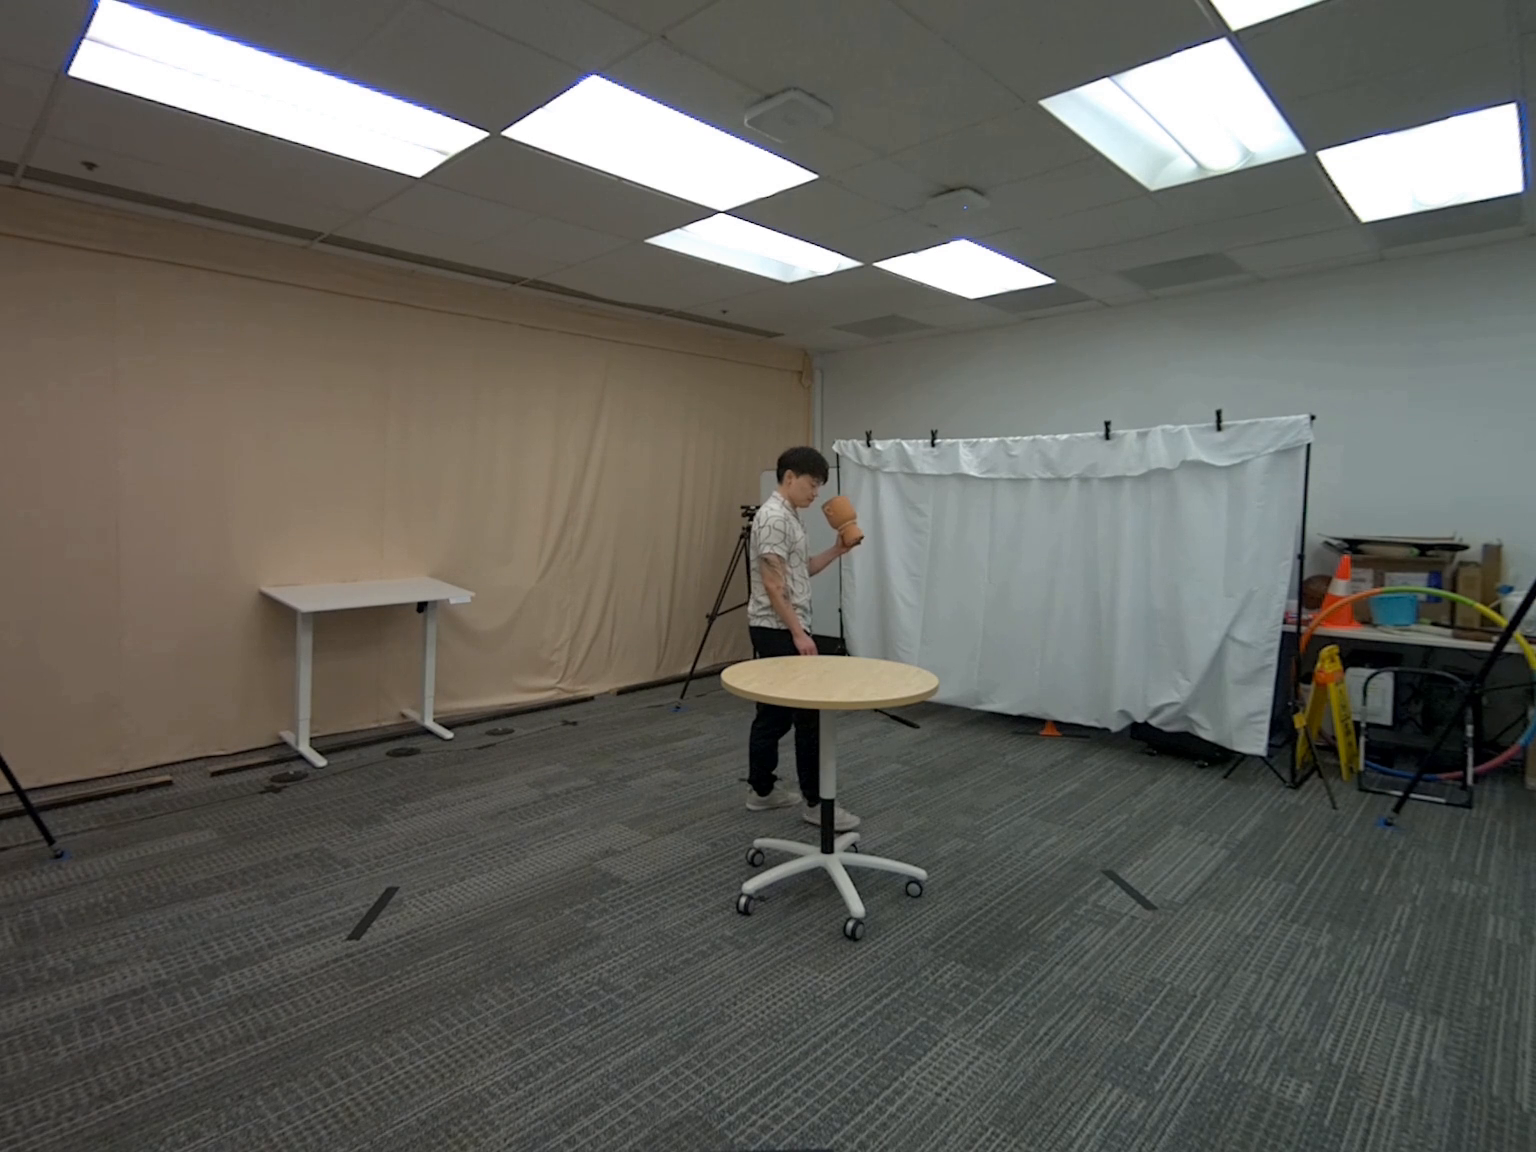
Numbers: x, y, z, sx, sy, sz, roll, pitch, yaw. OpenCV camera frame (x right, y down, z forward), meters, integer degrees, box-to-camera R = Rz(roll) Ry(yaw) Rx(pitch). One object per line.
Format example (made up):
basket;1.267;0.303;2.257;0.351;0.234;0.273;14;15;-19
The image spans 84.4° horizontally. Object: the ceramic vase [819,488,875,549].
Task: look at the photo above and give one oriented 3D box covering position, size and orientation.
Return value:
ceramic vase;0.361;-0.259;3.936;0.158;0.224;0.132;-25;-17;-4
